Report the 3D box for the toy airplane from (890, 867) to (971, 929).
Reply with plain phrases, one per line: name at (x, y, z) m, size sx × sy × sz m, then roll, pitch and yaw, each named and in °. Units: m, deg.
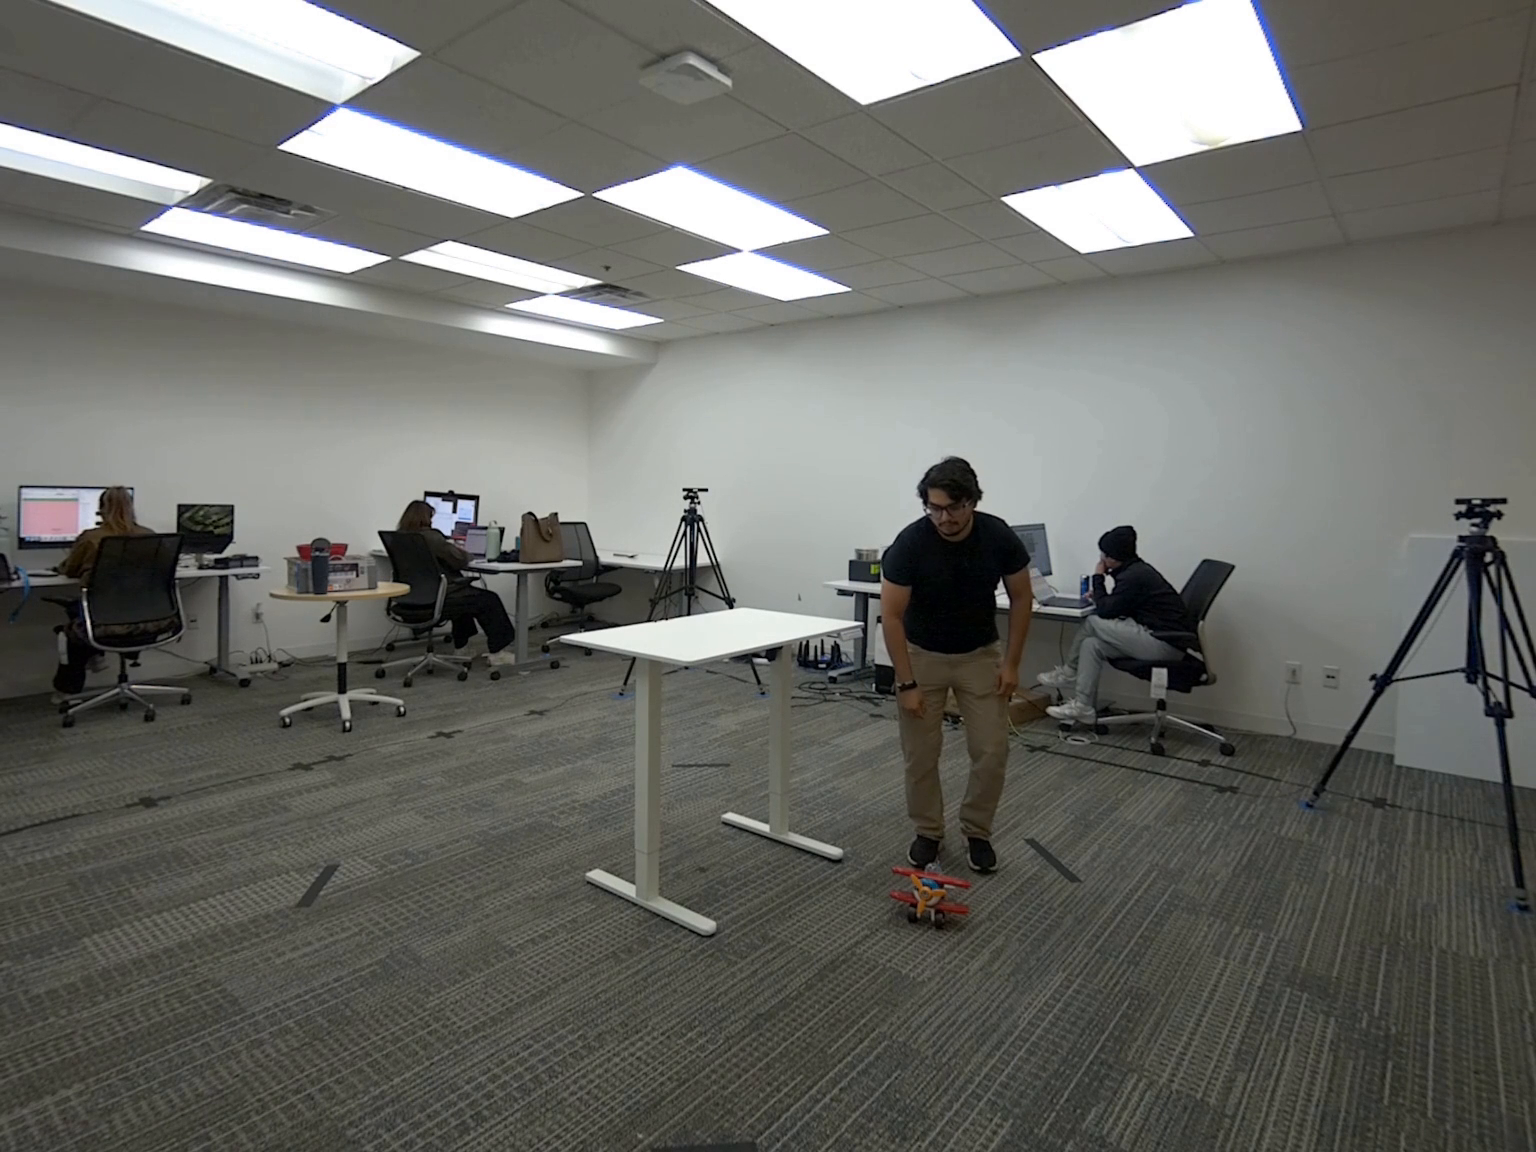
toy airplane at (0.520, 1.041, 2.825) m, size 0.250 × 0.155 × 0.262 m, roll 2°, pitch 7°, yaw -6°
